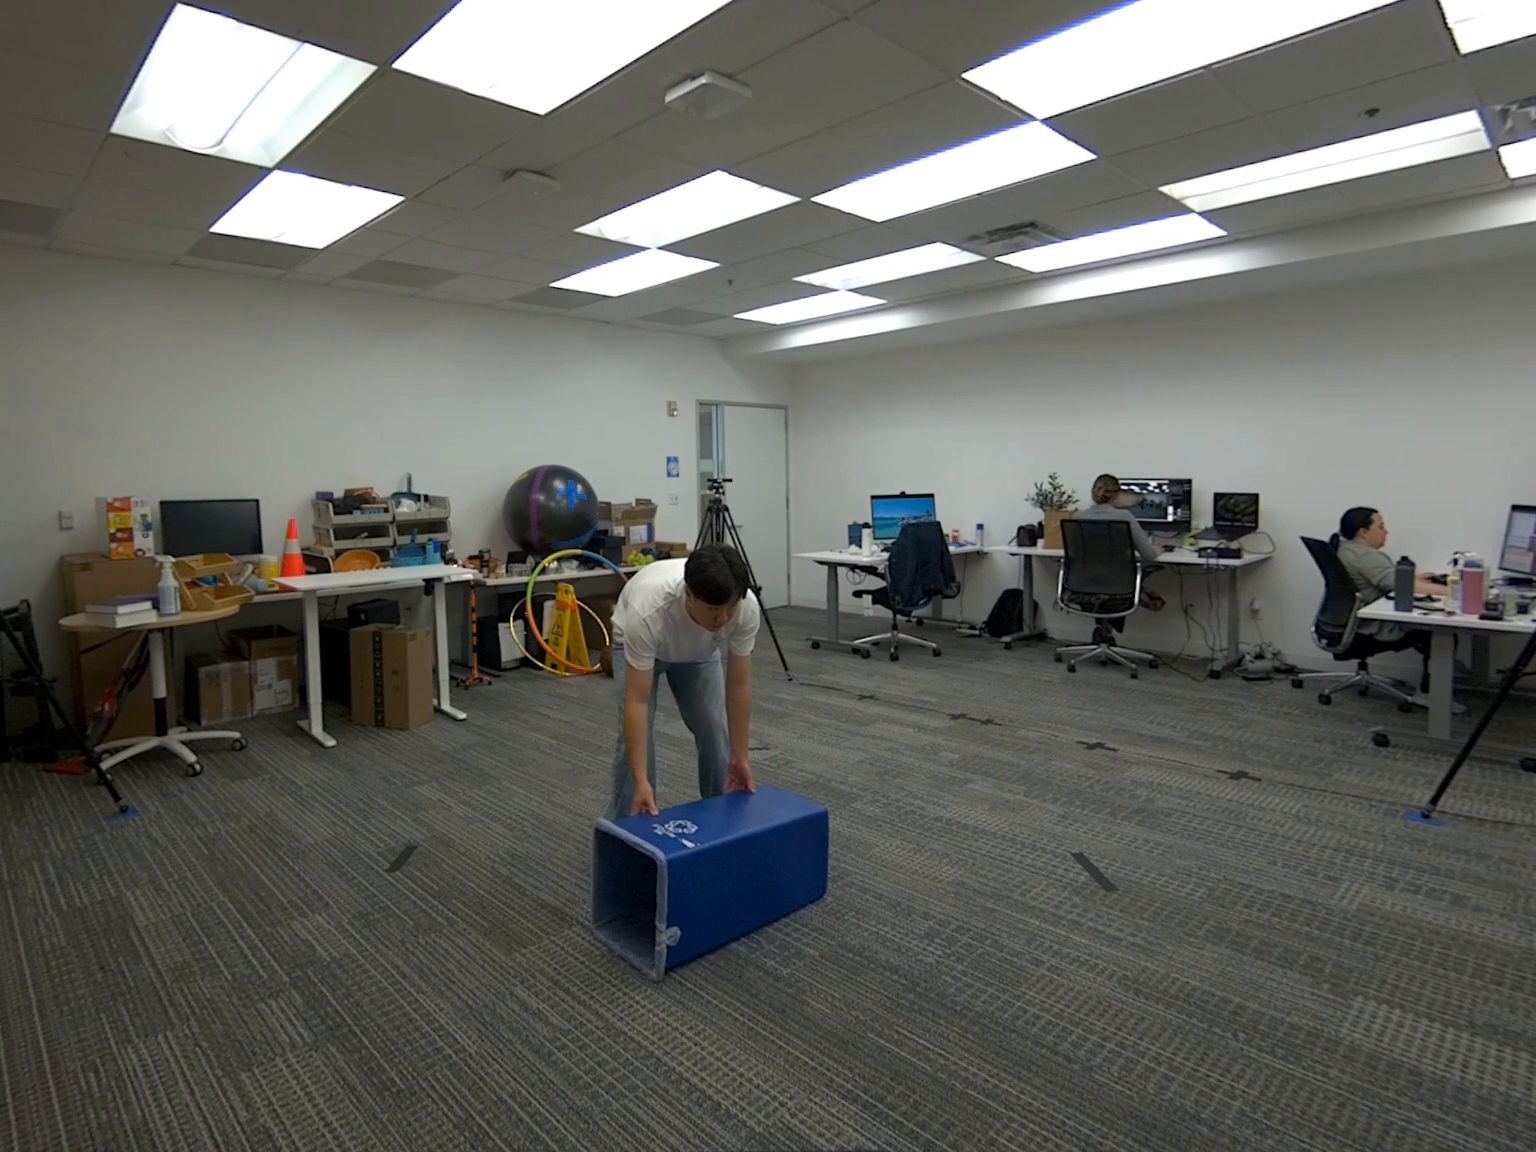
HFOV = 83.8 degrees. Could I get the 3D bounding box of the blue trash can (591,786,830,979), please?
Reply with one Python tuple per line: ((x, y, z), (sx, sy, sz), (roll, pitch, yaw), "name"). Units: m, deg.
((-0.167, 0.926, 2.729), (0.694, 0.377, 0.386), (-3, 5, -41), "blue trash can")
